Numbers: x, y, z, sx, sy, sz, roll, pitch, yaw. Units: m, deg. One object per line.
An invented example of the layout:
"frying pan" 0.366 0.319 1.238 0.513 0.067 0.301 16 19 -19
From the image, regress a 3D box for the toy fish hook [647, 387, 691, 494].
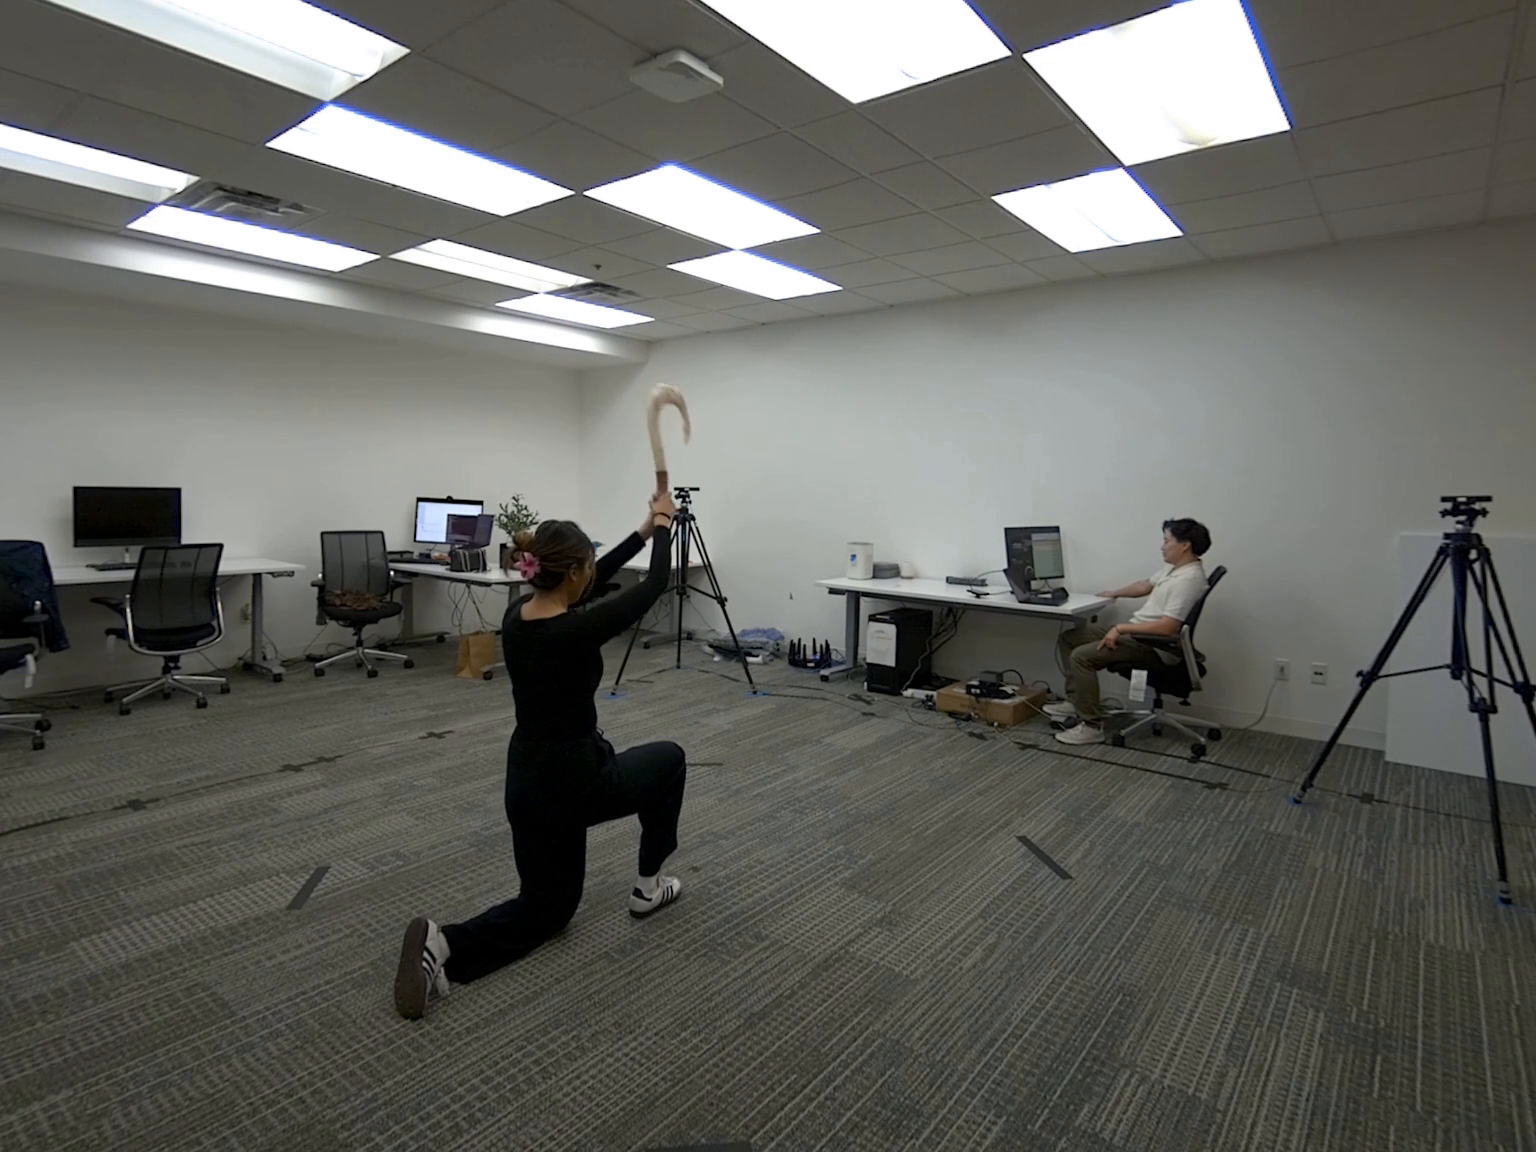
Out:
"toy fish hook" -0.360 -0.366 2.977 0.050 0.509 0.217 -3 -6 39
